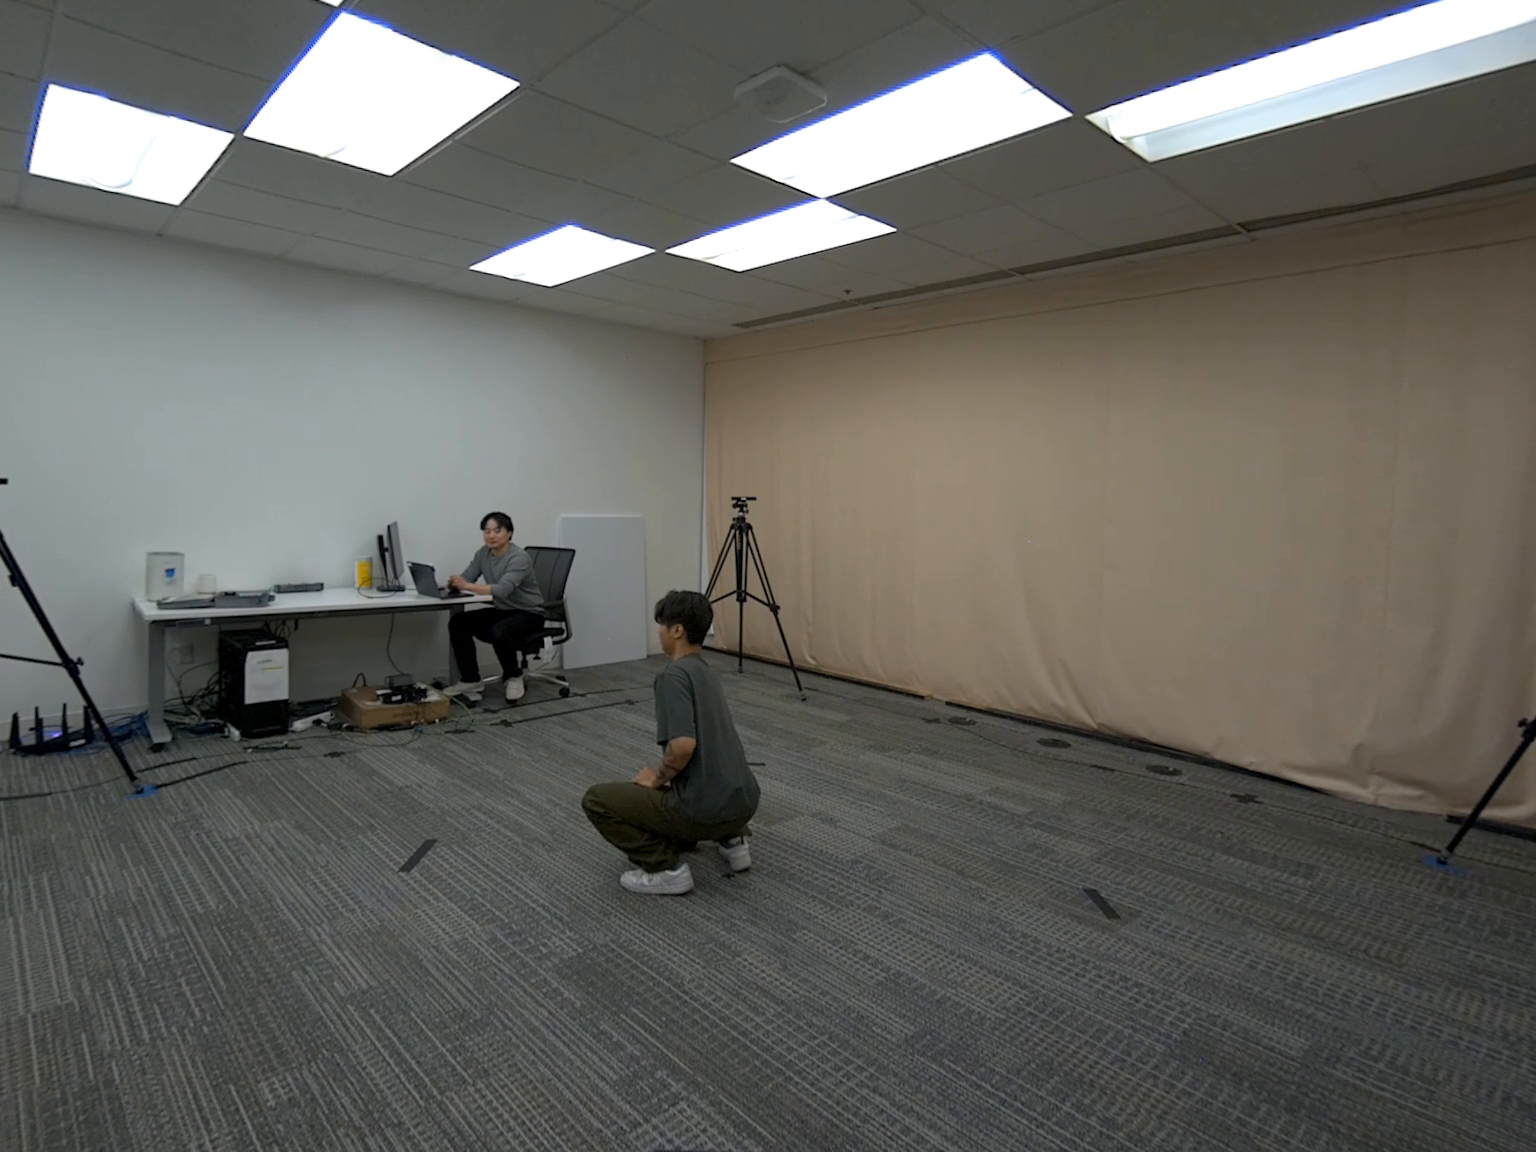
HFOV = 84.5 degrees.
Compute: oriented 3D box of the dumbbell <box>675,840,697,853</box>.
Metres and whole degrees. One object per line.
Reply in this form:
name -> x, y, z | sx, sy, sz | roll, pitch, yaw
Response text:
dumbbell -> -0.402, 1.024, 3.280 | 0.287, 0.125, 0.109 | -2, -27, -41
